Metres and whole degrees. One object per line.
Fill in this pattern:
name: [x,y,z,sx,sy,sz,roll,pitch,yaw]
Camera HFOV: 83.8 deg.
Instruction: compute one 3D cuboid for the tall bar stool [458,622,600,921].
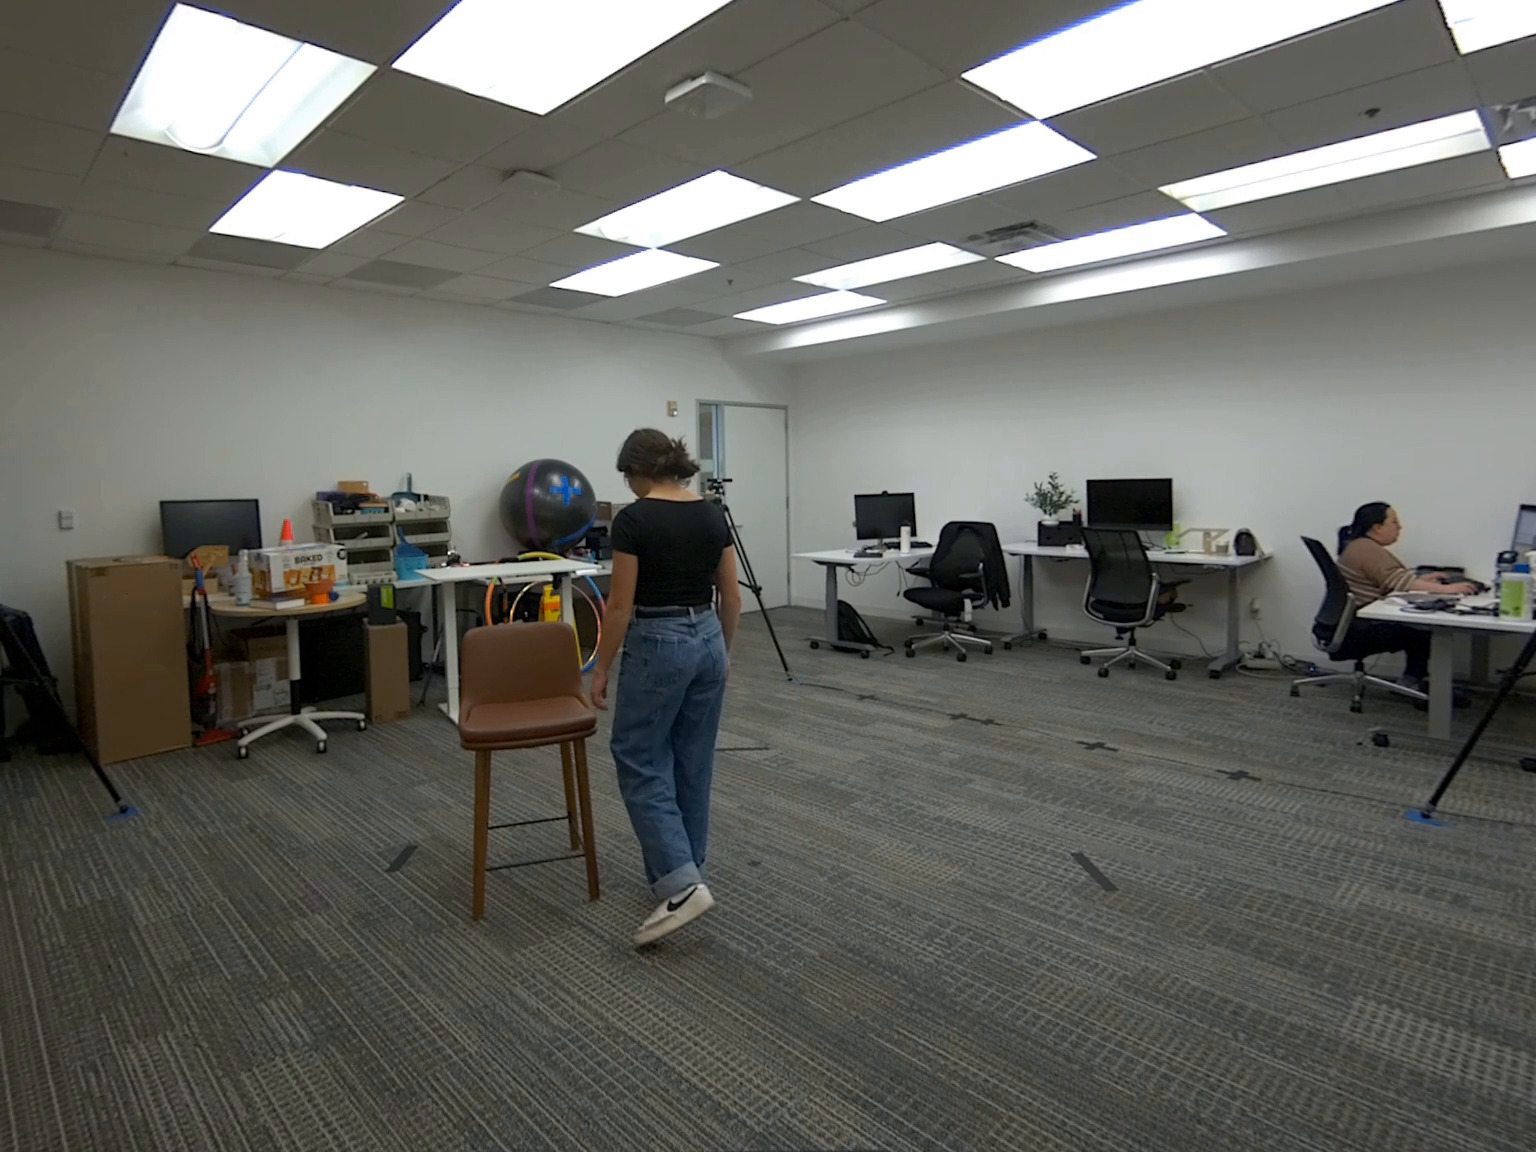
tall bar stool: [-0.836,0.635,2.991,0.449,0.888,0.476,-2,2,-18]
